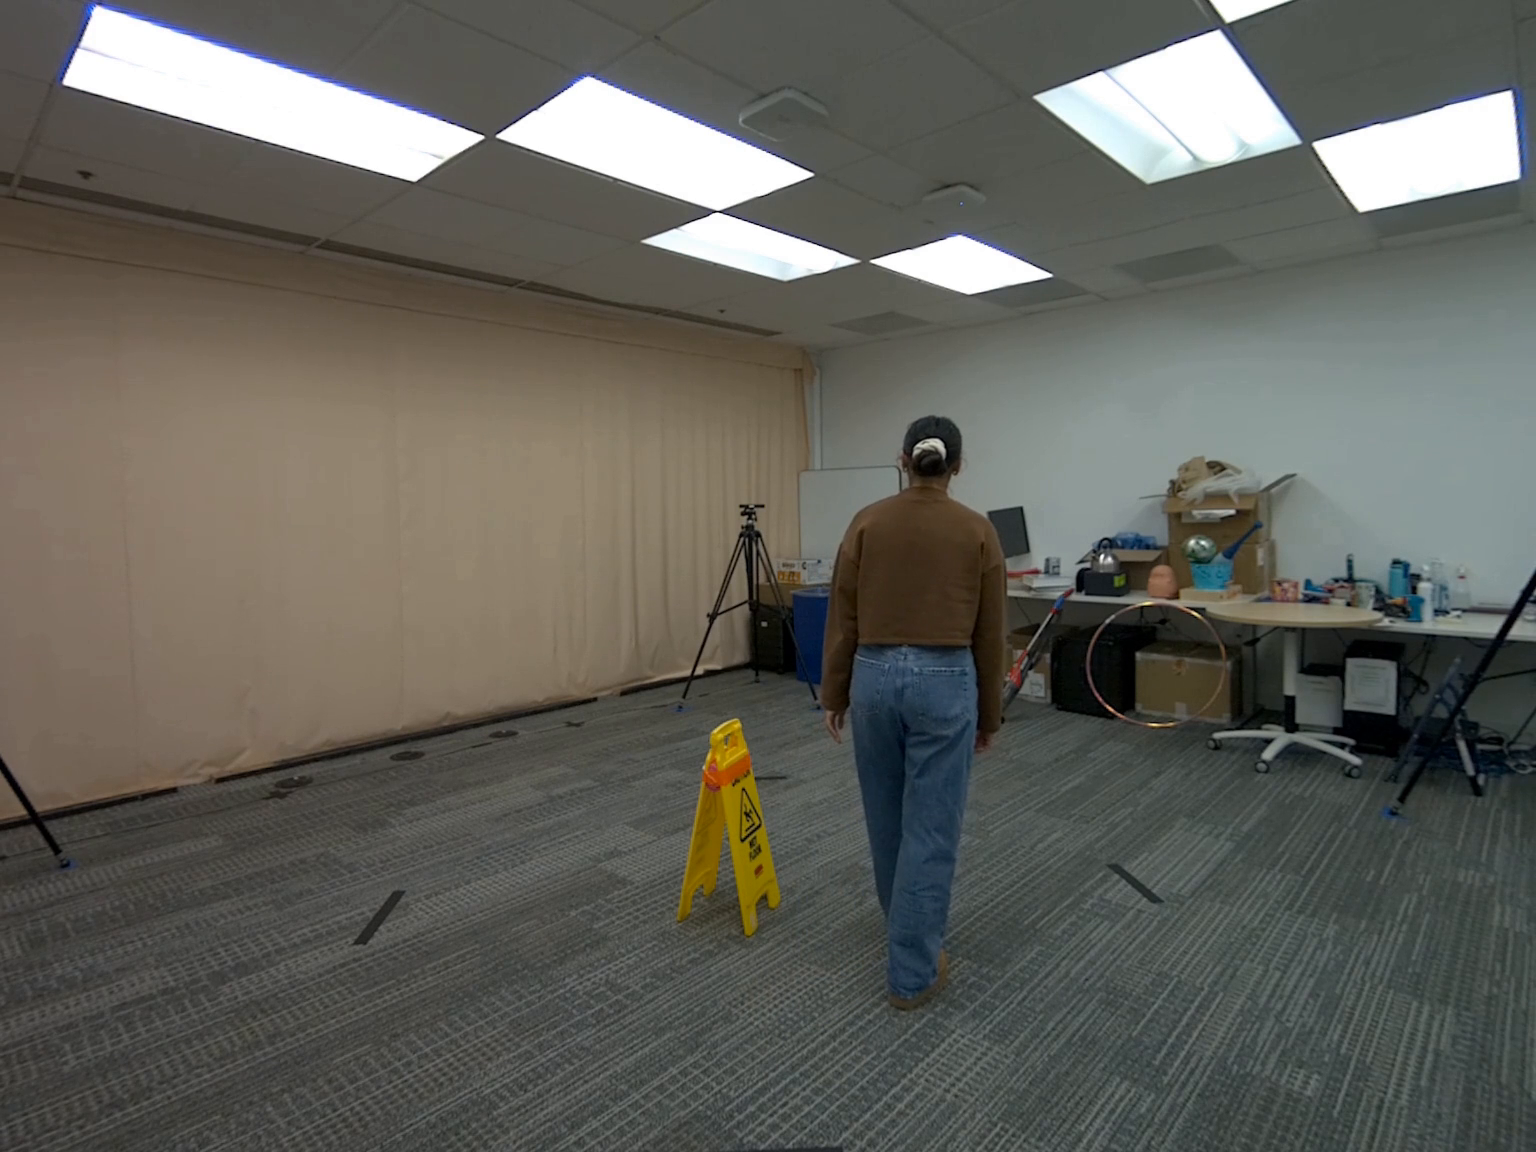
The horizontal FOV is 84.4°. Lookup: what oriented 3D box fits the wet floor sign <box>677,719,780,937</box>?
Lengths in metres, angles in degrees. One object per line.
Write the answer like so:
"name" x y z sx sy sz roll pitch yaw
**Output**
"wet floor sign" -0.132 0.828 2.868 0.297 0.644 0.276 1 5 23
